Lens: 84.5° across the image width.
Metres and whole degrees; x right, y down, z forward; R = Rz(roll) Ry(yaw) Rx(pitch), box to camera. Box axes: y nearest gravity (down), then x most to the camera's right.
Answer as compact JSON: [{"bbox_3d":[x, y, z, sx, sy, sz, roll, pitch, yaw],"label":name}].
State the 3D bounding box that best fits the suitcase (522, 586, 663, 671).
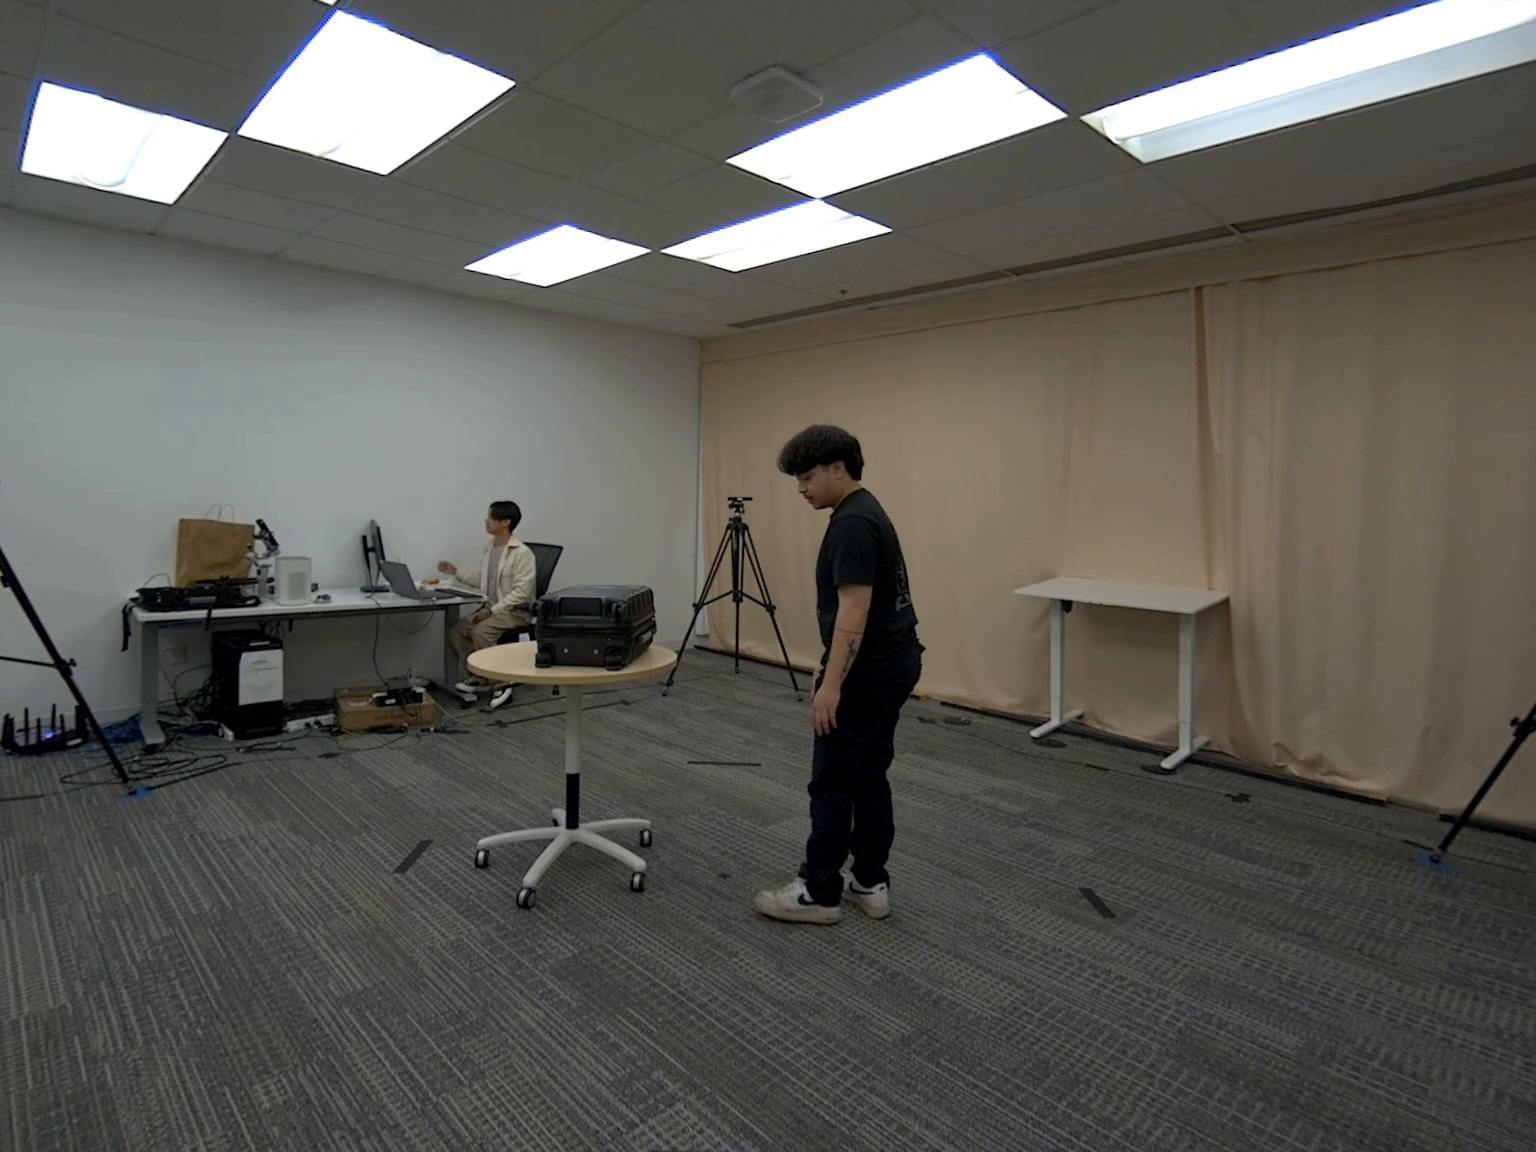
[{"bbox_3d":[-0.632,0.180,3.138,0.377,0.248,0.547,-1,2,5],"label":"suitcase"}]
